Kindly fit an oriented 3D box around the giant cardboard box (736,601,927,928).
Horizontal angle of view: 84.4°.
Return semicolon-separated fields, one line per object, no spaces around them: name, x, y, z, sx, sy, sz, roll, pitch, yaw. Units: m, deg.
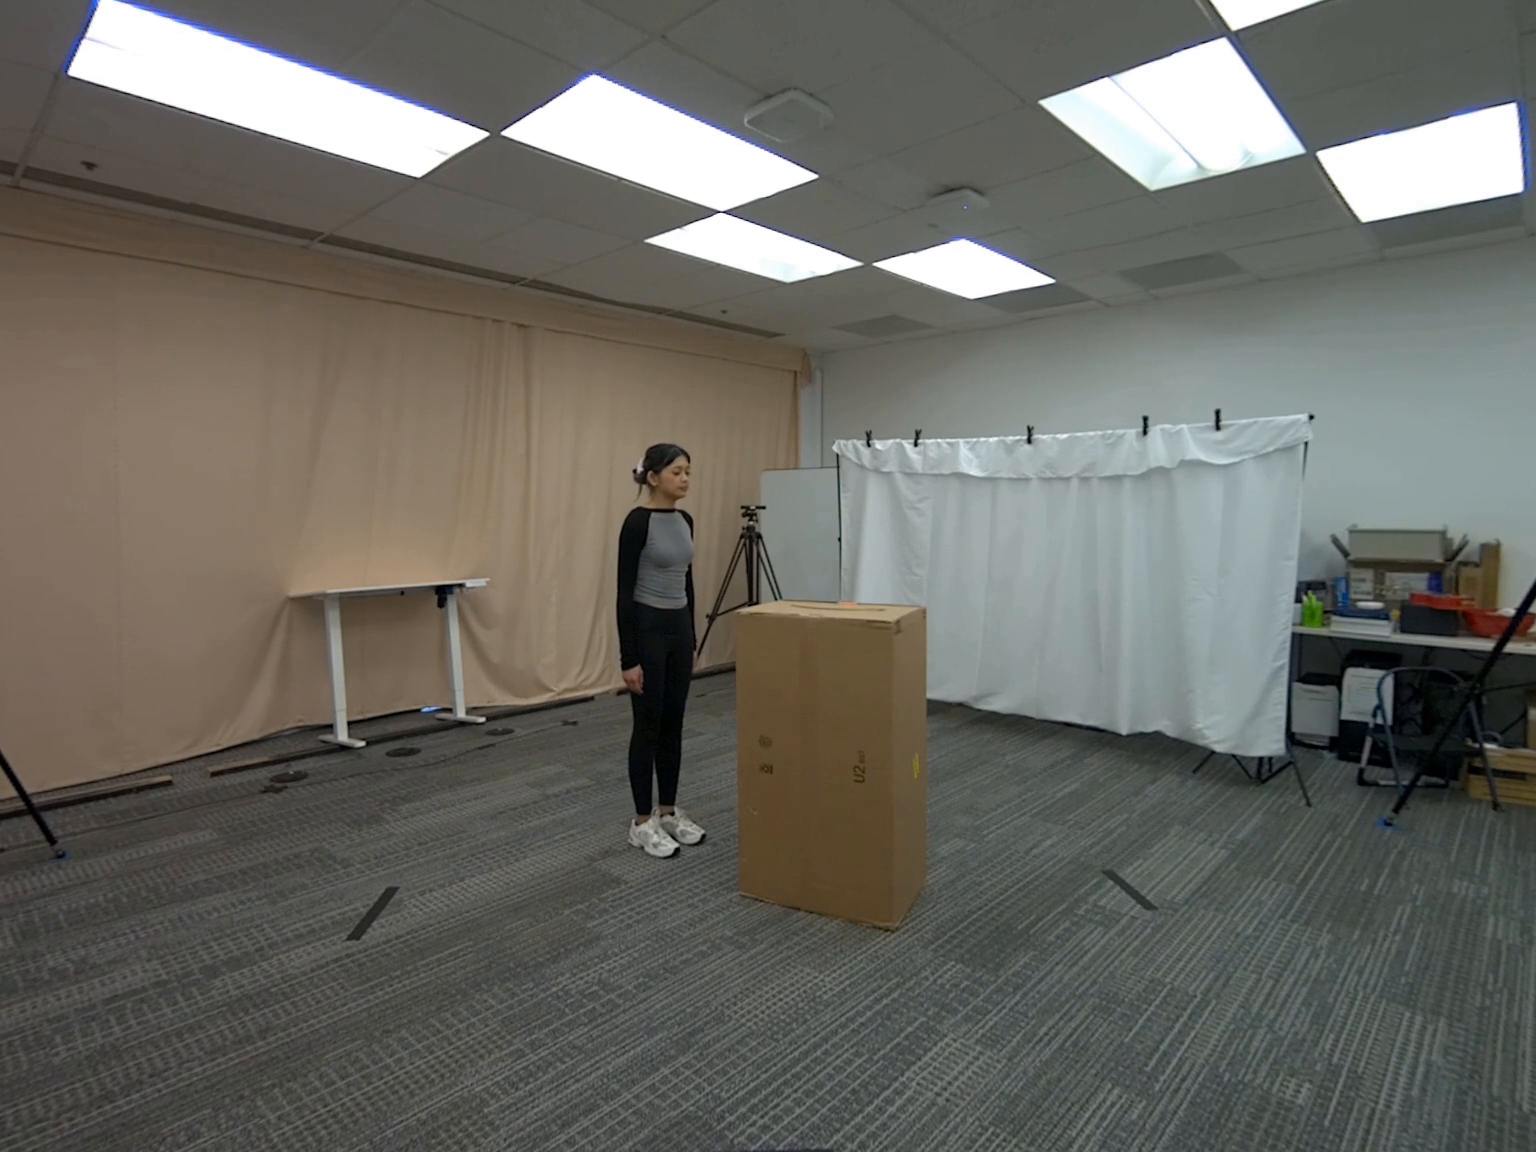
giant cardboard box;0.241;0.632;3.042;0.599;1.024;0.436;1;4;26
